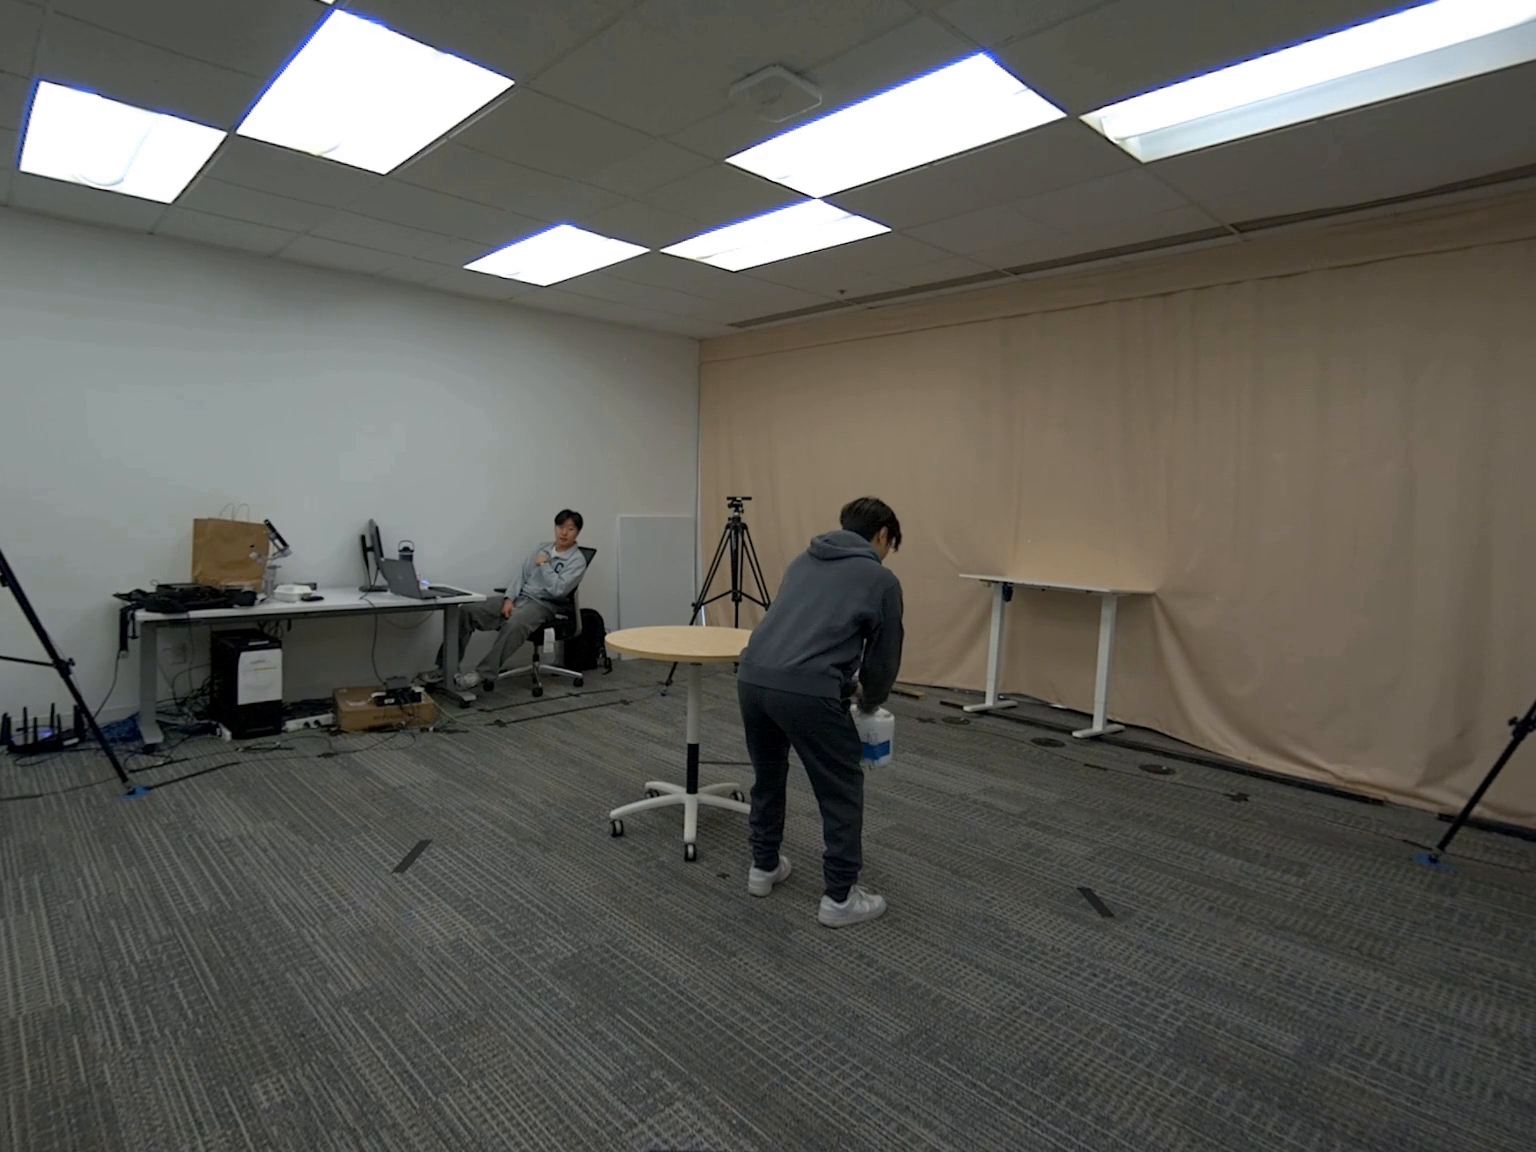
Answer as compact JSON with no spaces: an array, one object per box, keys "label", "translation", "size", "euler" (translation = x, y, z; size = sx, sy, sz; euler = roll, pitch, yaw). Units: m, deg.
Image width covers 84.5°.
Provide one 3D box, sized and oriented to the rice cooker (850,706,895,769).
[{"label":"rice cooker","translation":[0.364,0.597,3.209],"size":[0.223,0.232,0.215],"euler":[7,4,38]}]
